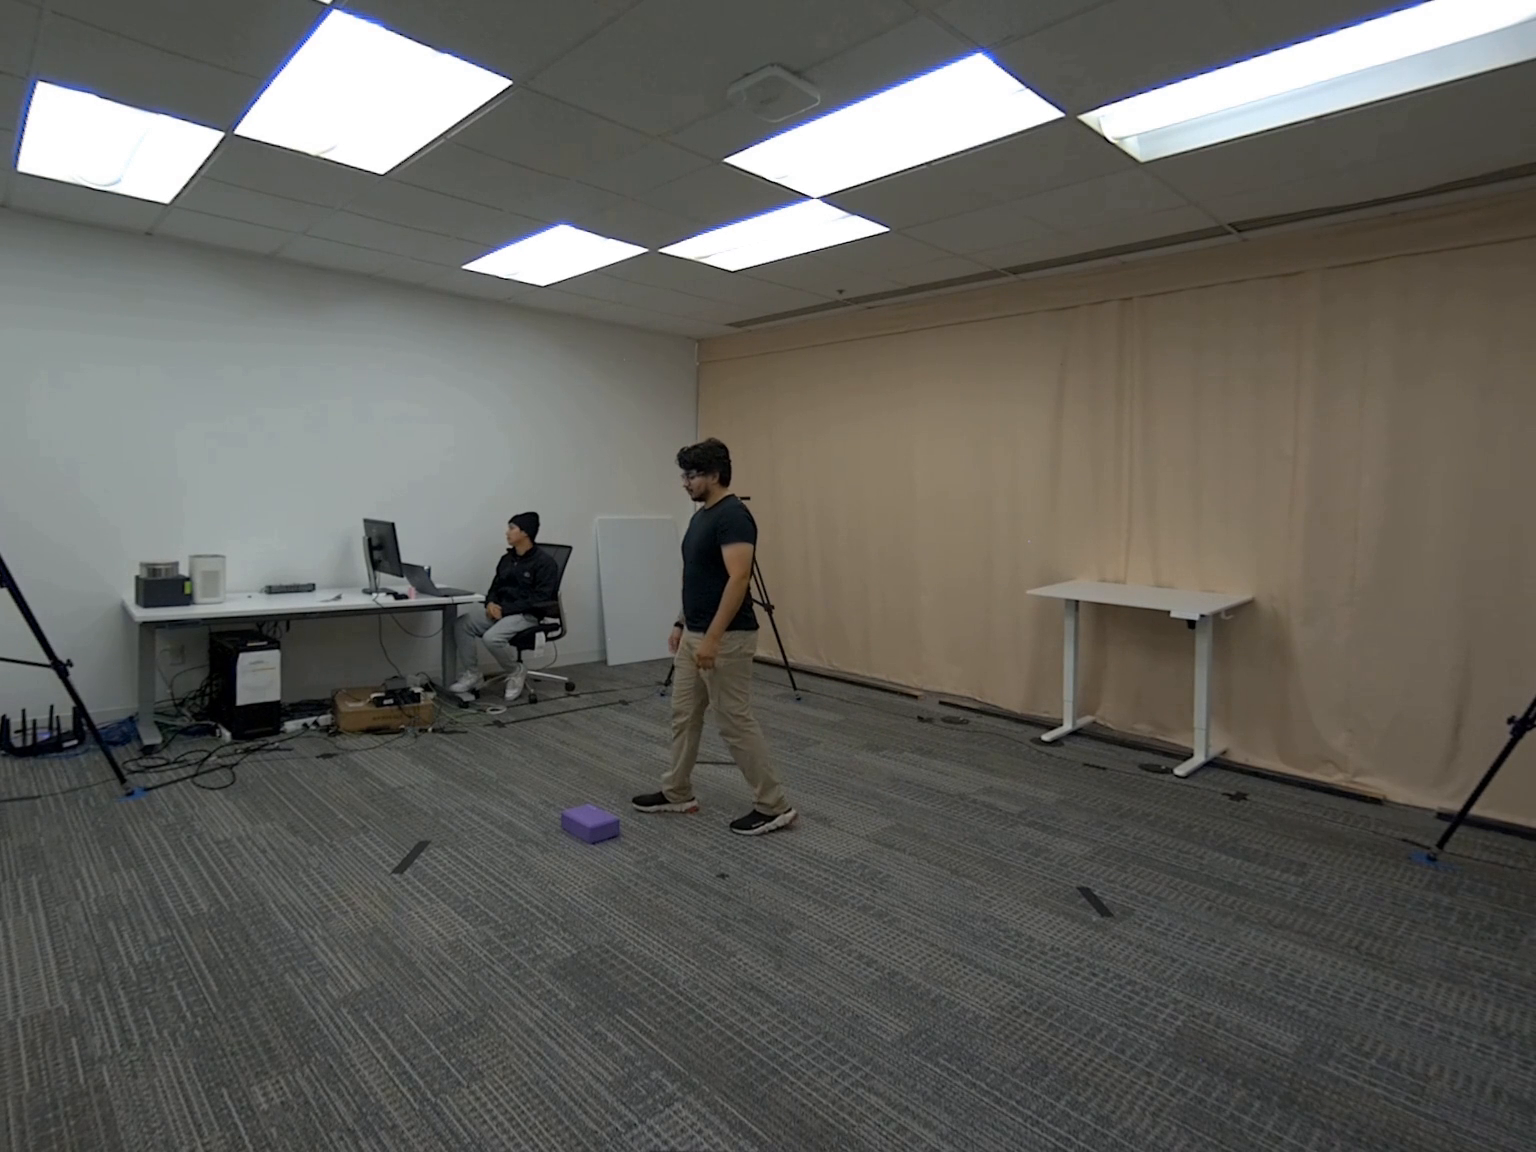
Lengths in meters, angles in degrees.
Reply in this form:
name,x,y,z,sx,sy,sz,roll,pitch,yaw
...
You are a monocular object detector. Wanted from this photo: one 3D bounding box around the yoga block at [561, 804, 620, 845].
name,x,y,z,sx,sy,sz,roll,pitch,yaw
yoga block,-0.743,1.021,3.476,0.145,0.076,0.235,-4,7,-44
